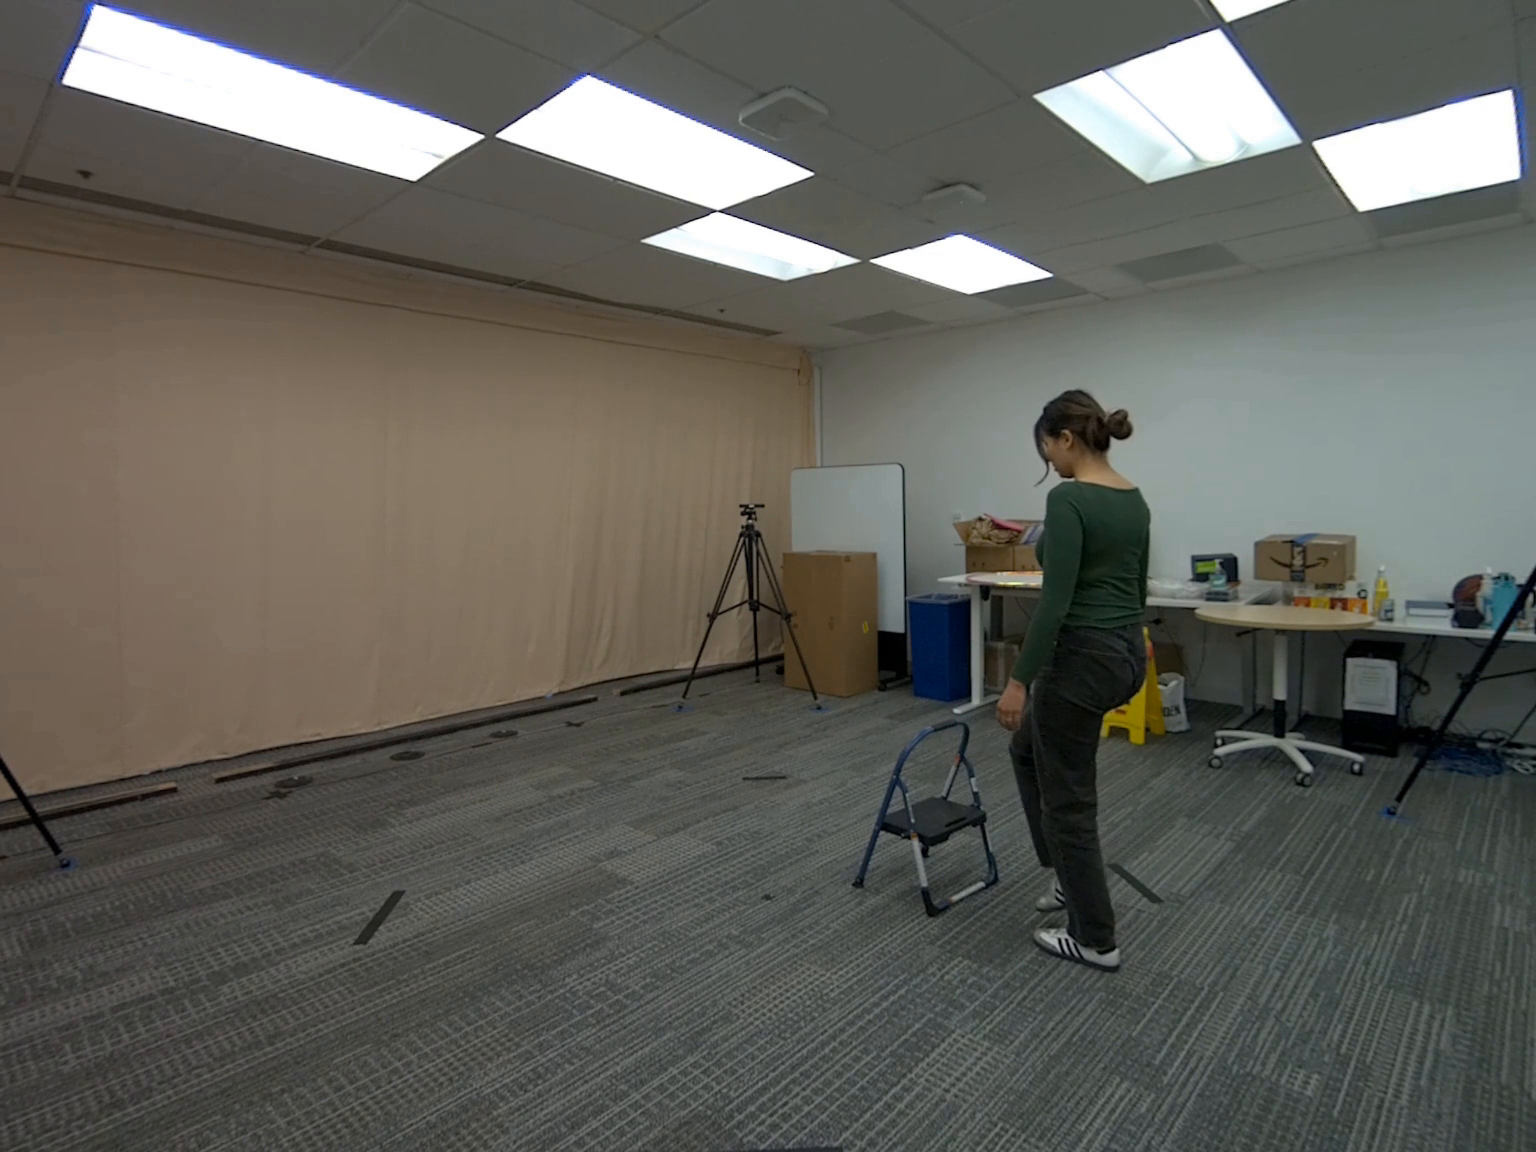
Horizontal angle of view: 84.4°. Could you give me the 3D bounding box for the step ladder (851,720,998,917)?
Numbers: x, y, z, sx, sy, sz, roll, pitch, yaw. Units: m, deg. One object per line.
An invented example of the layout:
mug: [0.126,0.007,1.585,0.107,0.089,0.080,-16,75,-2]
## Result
step ladder: [0.578,0.818,3.054,0.417,0.605,0.361,-4,5,-43]
